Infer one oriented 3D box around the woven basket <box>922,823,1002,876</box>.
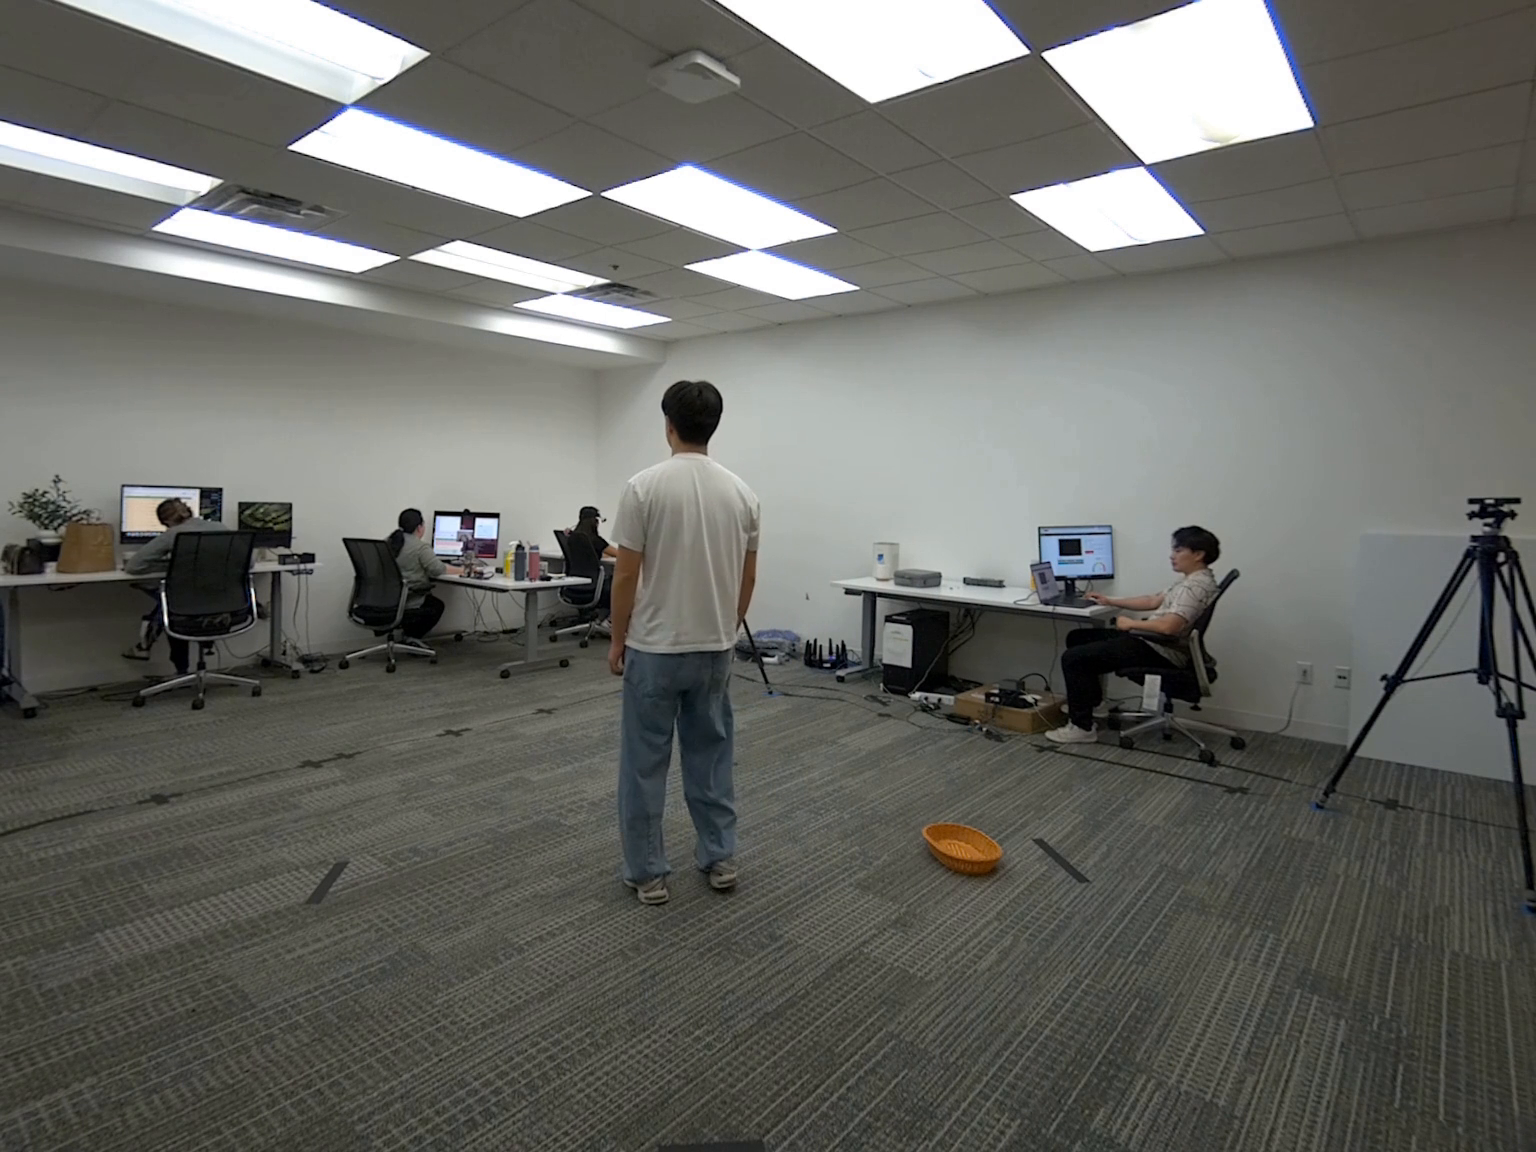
[{"bbox_3d":[0.729,1.038,3.246,0.249,0.073,0.356,0,6,-13],"label":"woven basket"}]
